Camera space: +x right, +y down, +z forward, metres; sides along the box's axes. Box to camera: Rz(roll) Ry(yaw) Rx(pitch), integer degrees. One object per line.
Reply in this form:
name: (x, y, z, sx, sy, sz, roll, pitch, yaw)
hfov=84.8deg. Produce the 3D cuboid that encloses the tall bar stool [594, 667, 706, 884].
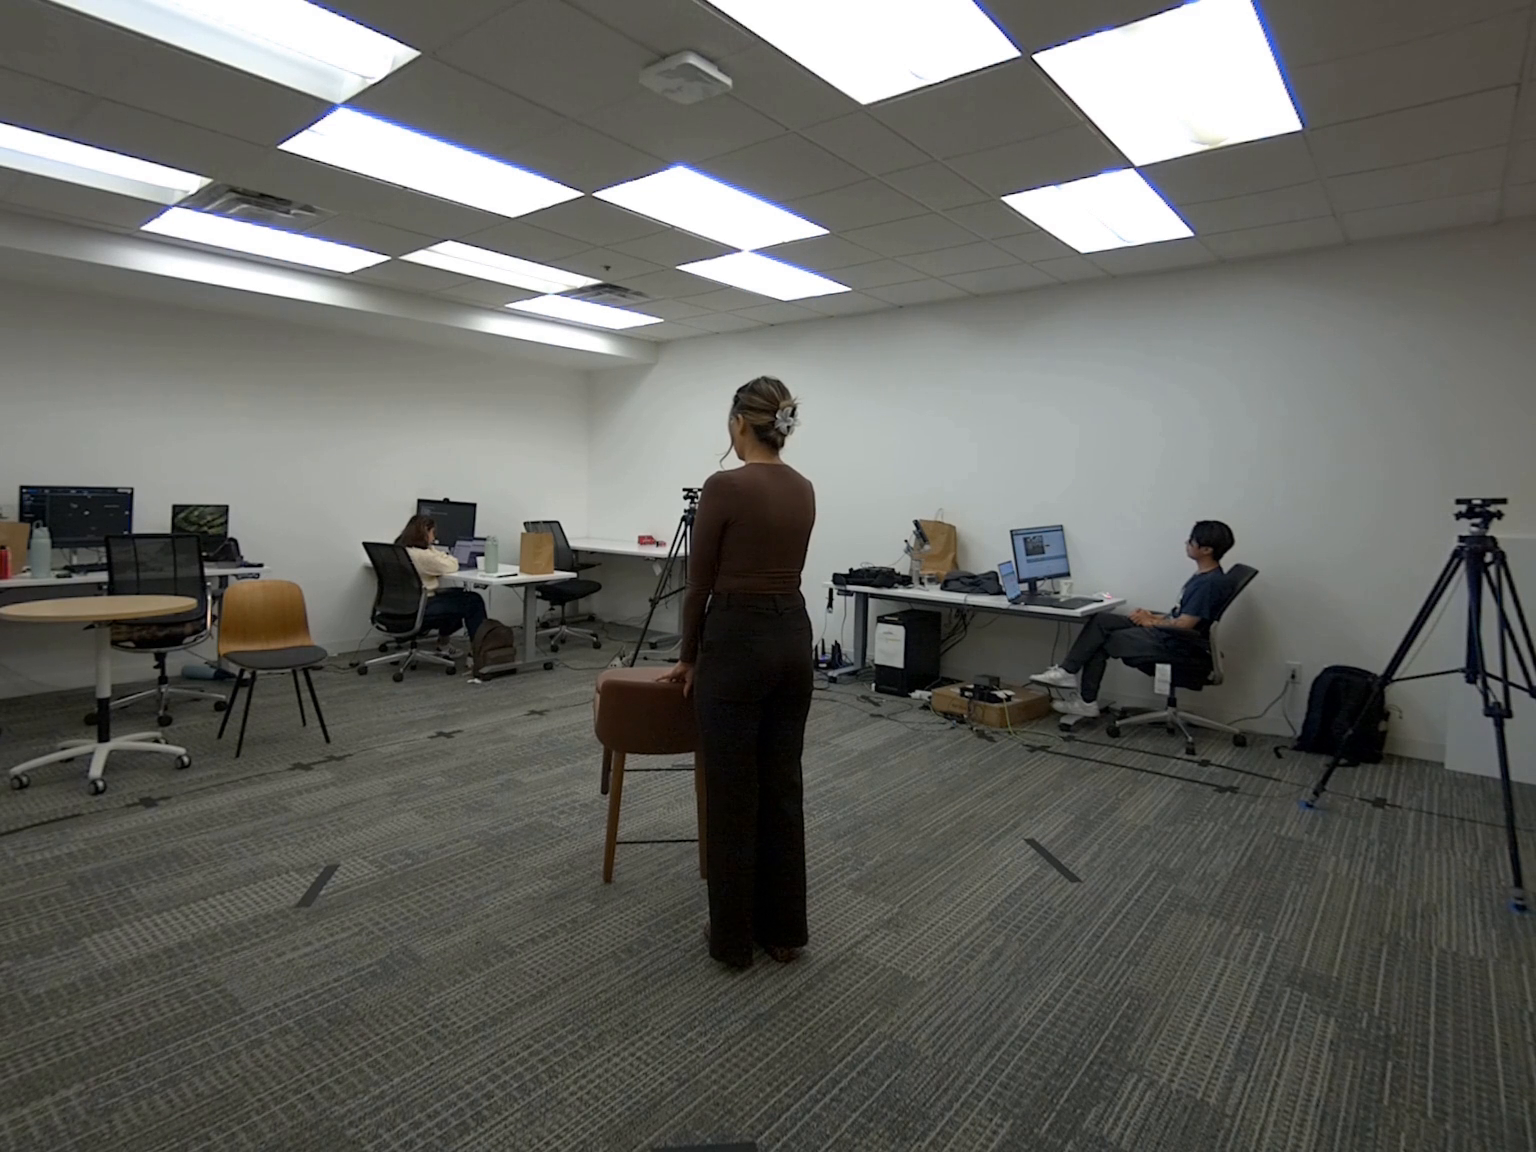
tall bar stool: (-0.401, 0.592, 3.010, 0.453, 0.871, 0.482, 1, 29, -8)
